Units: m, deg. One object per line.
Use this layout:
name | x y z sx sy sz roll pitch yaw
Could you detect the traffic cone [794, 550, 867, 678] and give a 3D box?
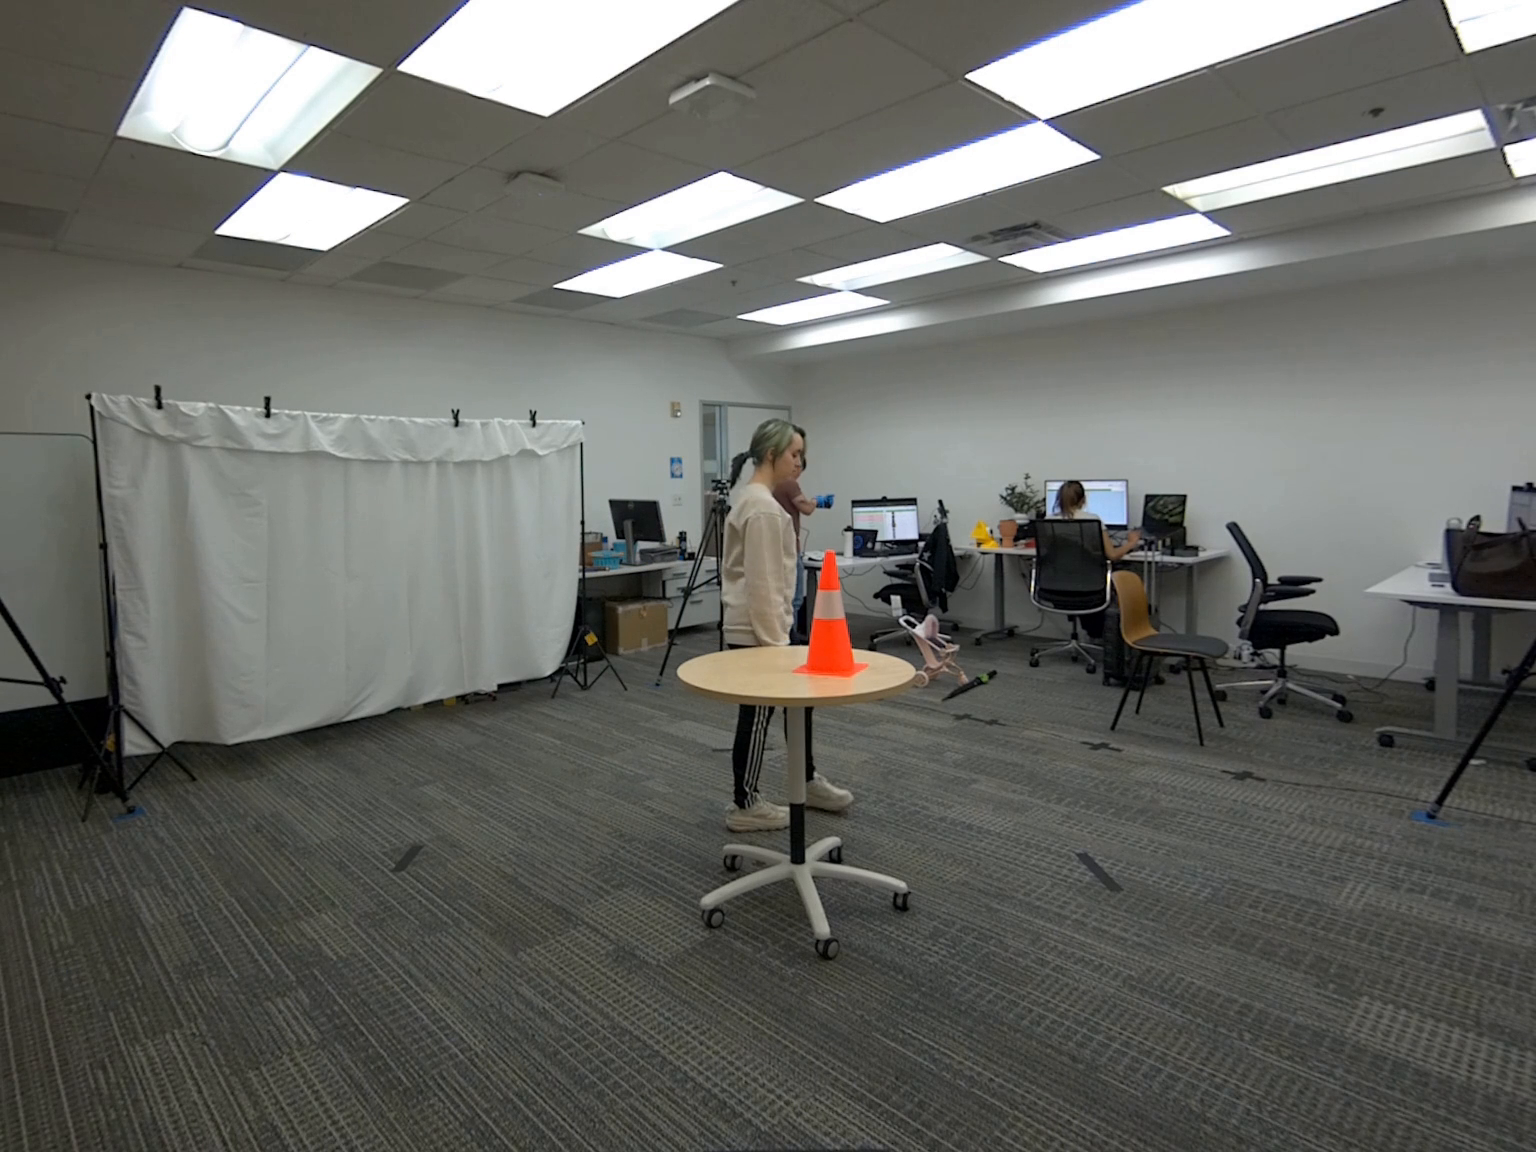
traffic cone | 0.197 0.114 2.743 0.208 0.382 0.200 0 4 30
